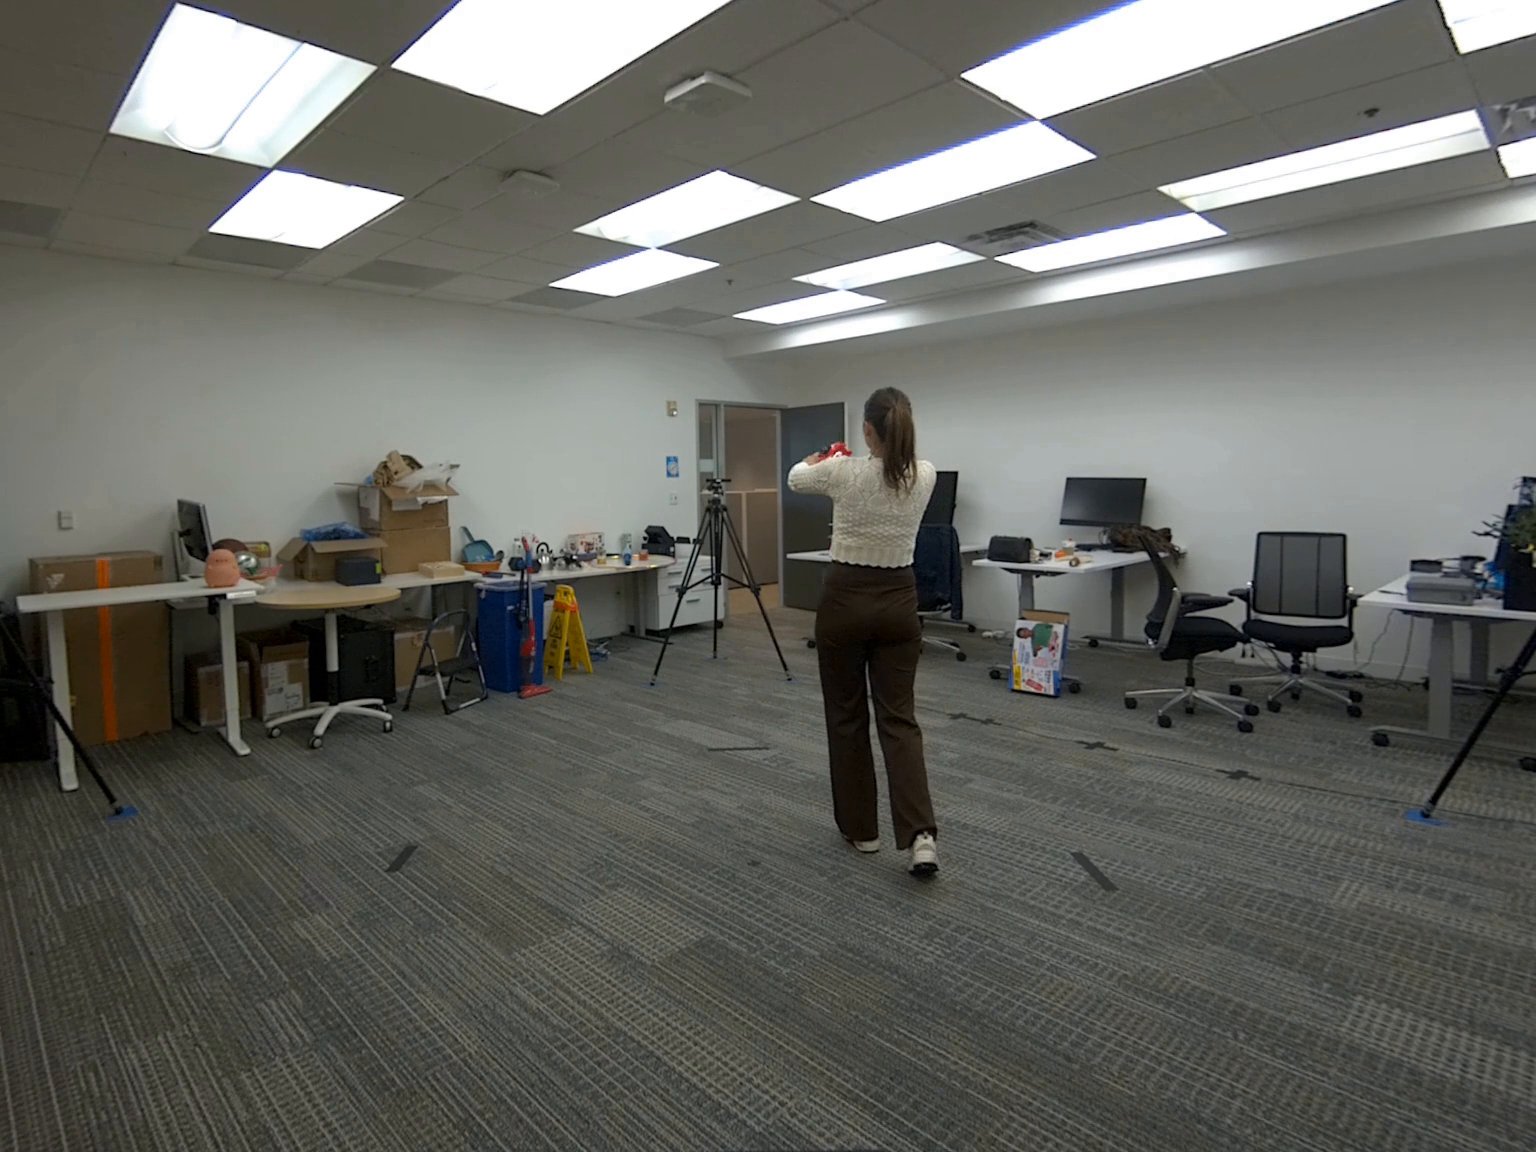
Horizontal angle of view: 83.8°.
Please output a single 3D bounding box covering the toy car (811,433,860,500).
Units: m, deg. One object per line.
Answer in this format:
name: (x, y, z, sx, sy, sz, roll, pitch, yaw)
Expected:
toy car: (0.255, -0.467, 3.646, 0.125, 0.255, 0.086, 42, 16, -37)
